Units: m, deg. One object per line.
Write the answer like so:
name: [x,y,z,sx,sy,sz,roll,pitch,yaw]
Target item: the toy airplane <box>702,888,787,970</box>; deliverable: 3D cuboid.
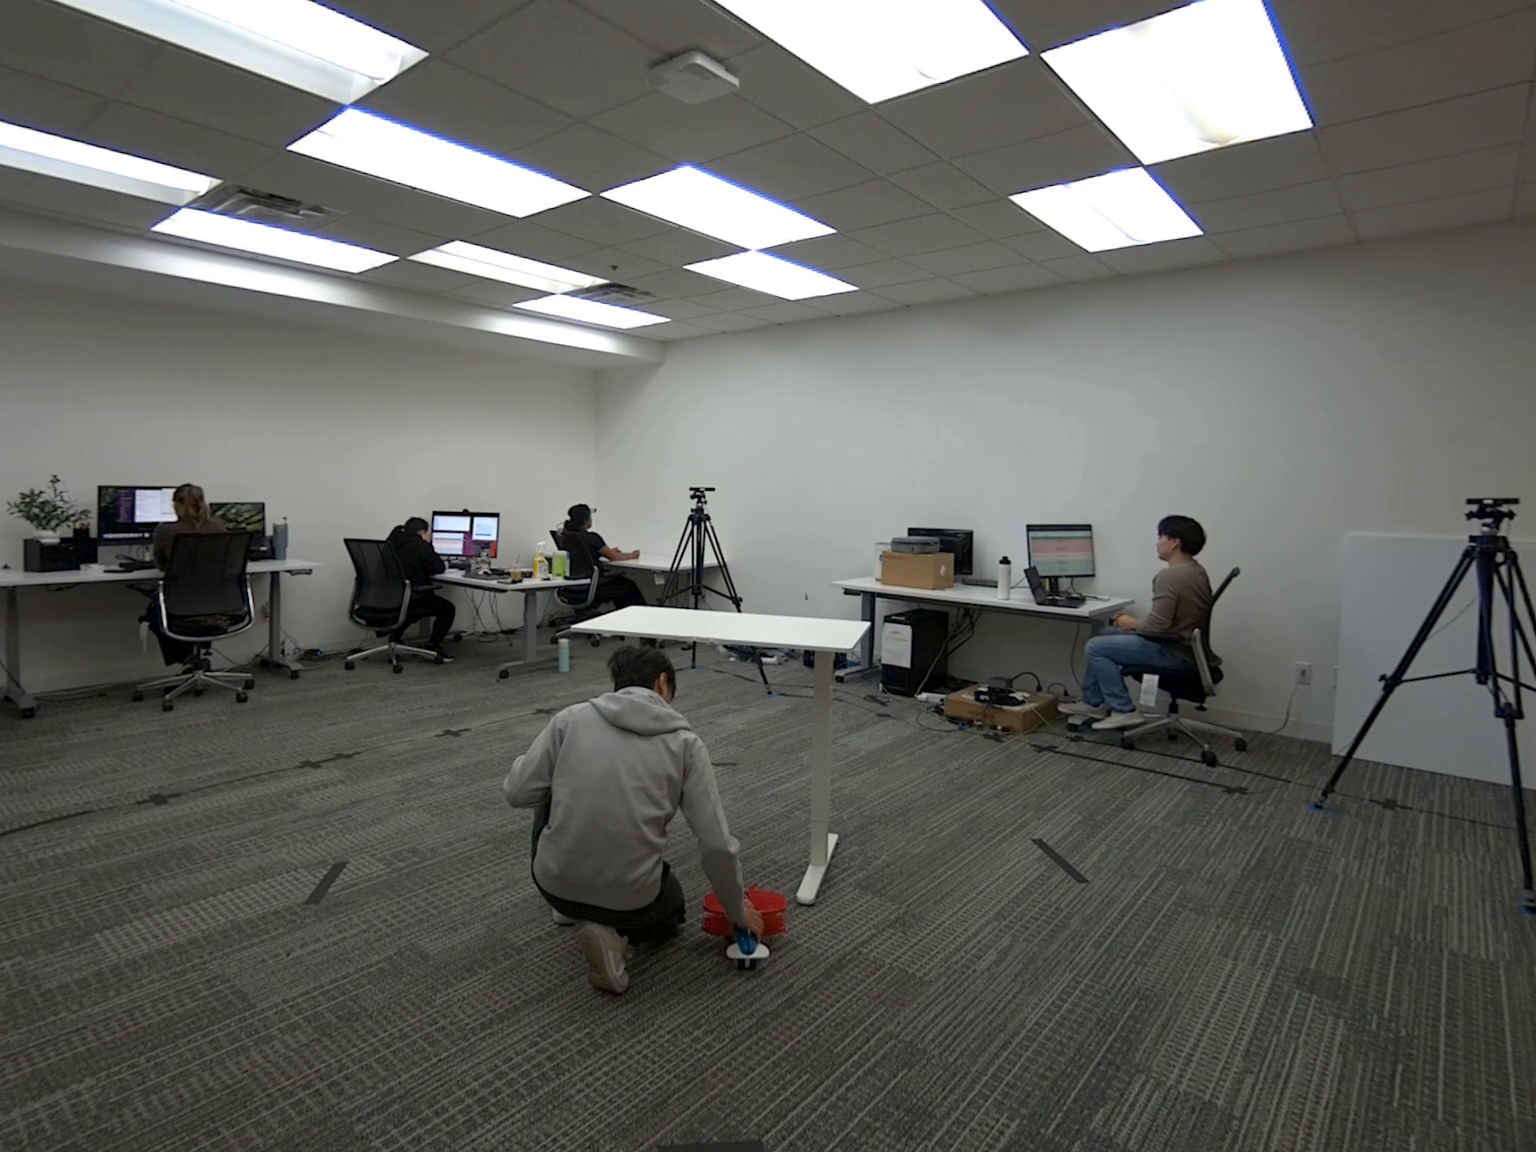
toy airplane: [-0.059,1.056,2.544,0.244,0.156,0.267,-2,5,-32]
